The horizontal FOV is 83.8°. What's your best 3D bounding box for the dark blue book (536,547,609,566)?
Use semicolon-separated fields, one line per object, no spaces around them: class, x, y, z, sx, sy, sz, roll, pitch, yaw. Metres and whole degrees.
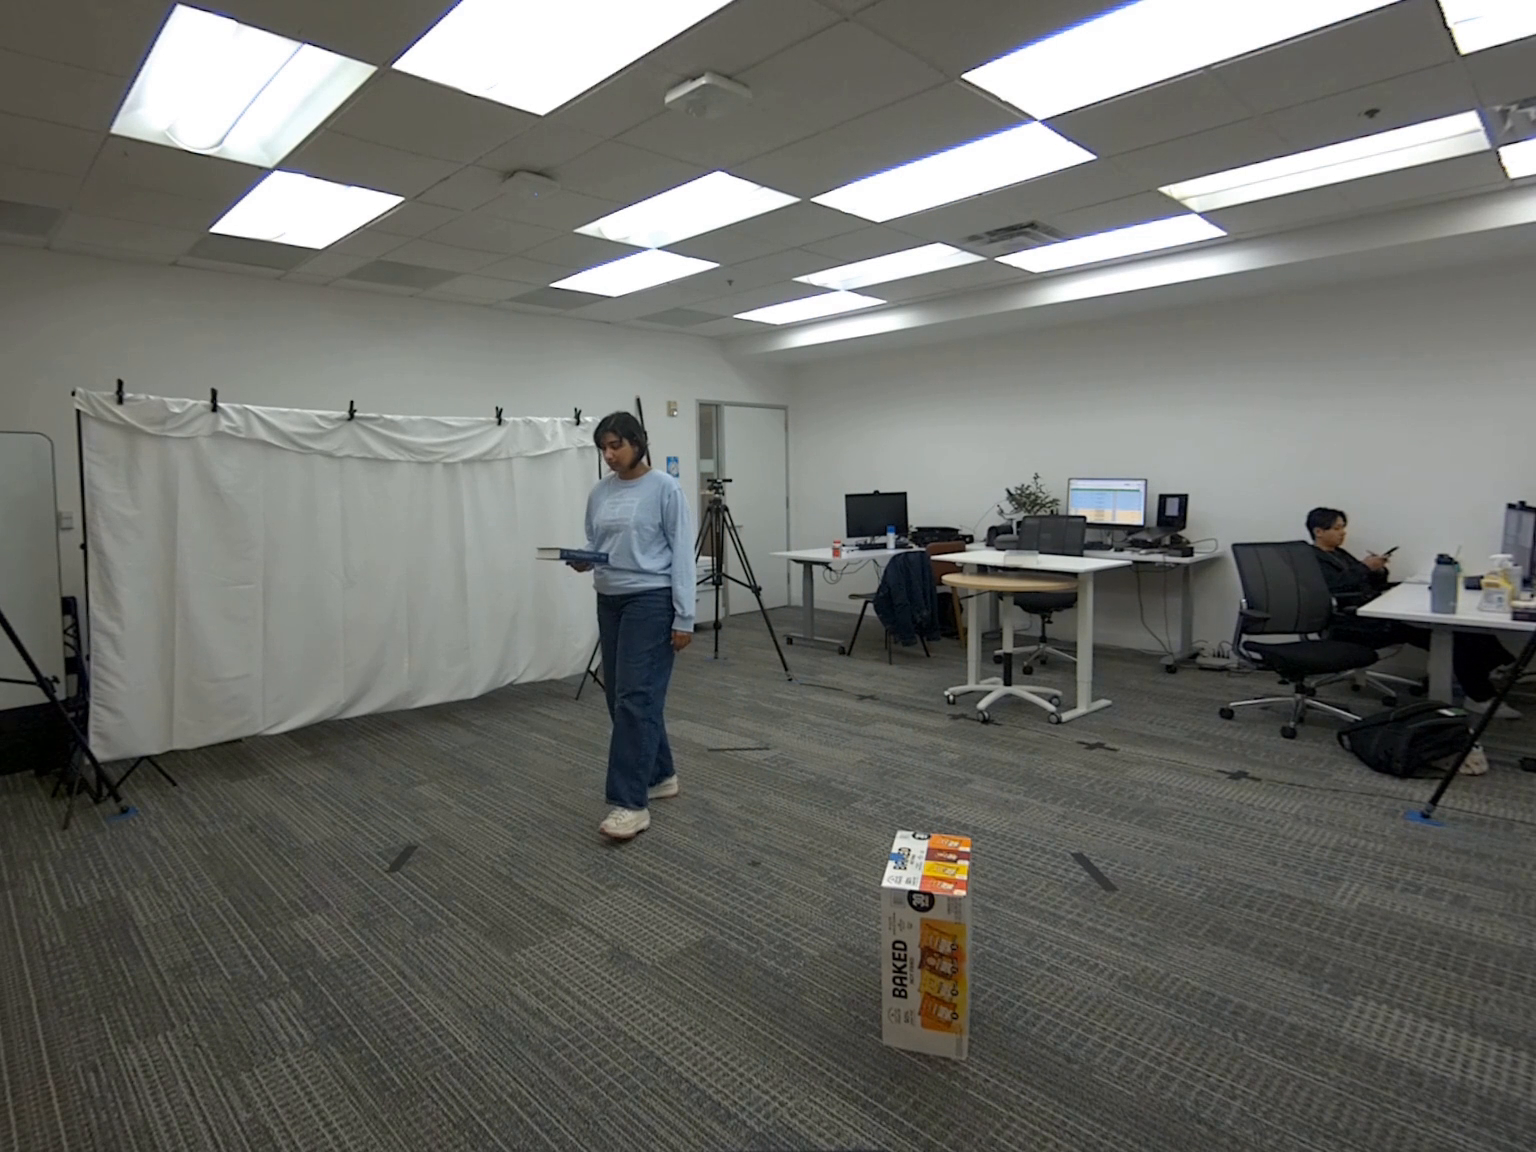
dark blue book;-0.772;-0.079;3.448;0.168;0.045;0.237;2;-1;40
